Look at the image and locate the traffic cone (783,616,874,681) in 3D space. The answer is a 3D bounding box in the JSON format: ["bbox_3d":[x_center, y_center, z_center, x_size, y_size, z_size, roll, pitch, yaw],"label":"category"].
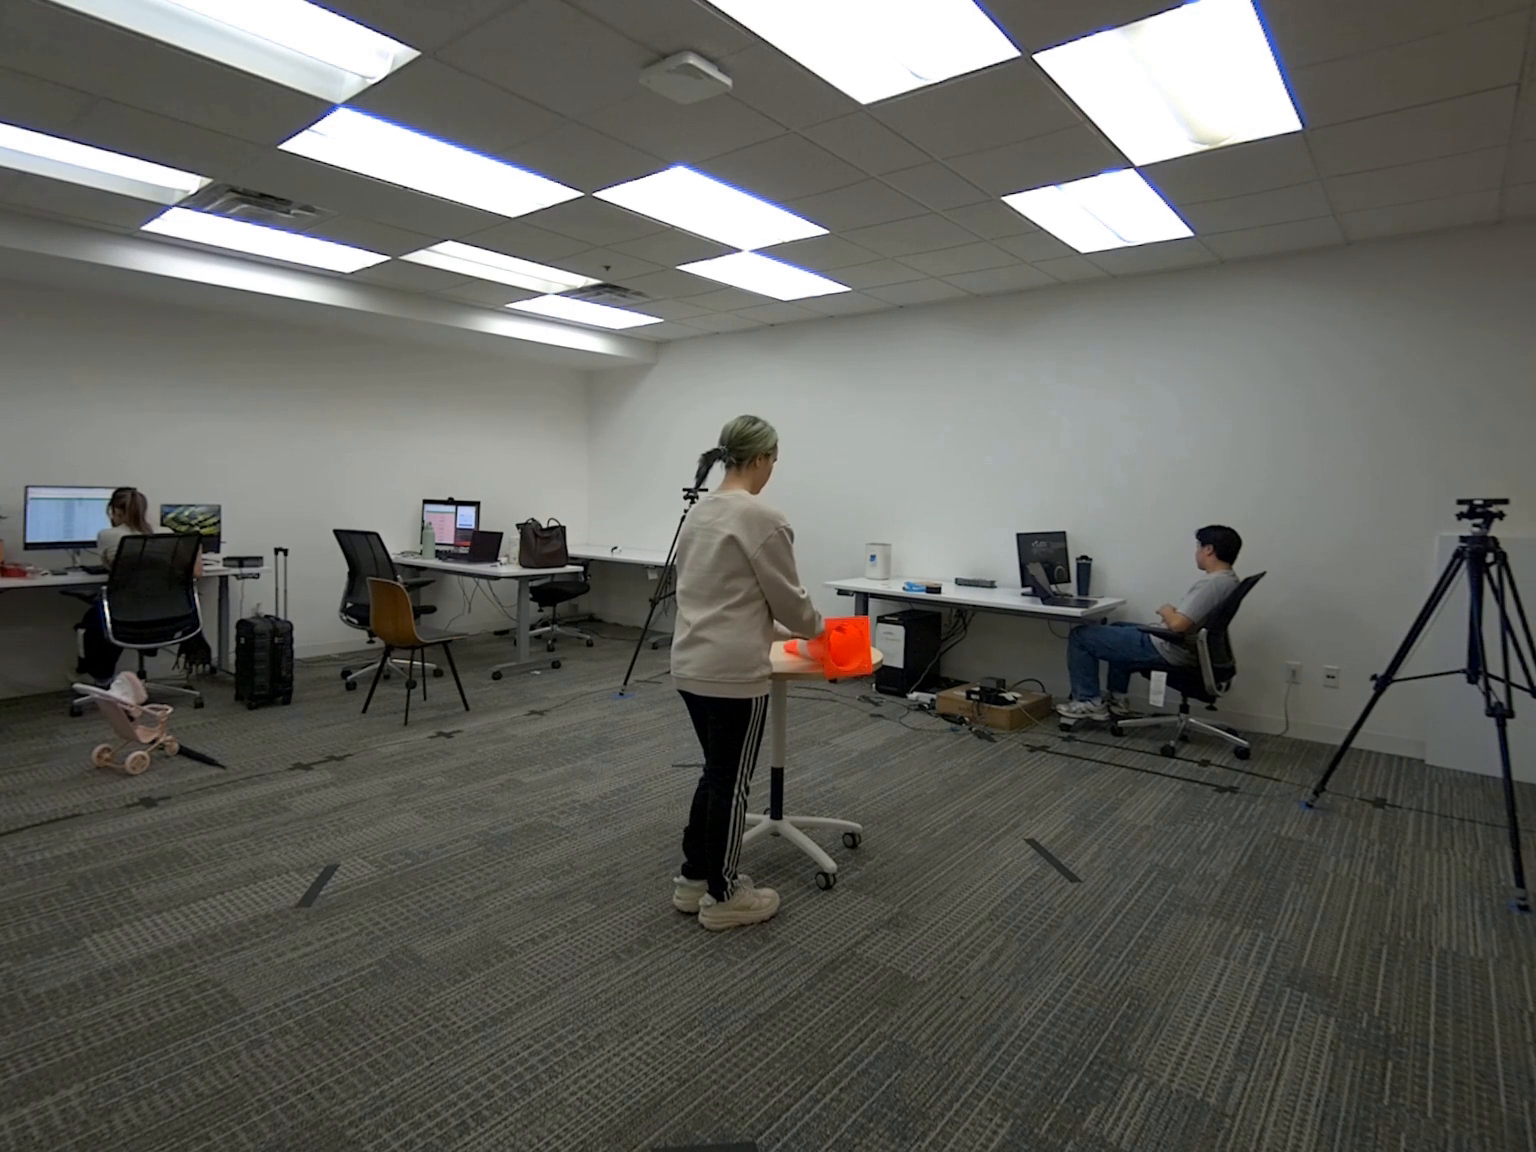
[{"bbox_3d":[0.167,0.256,3.064,0.200,0.204,0.392,-7,-3,-33],"label":"traffic cone"}]
